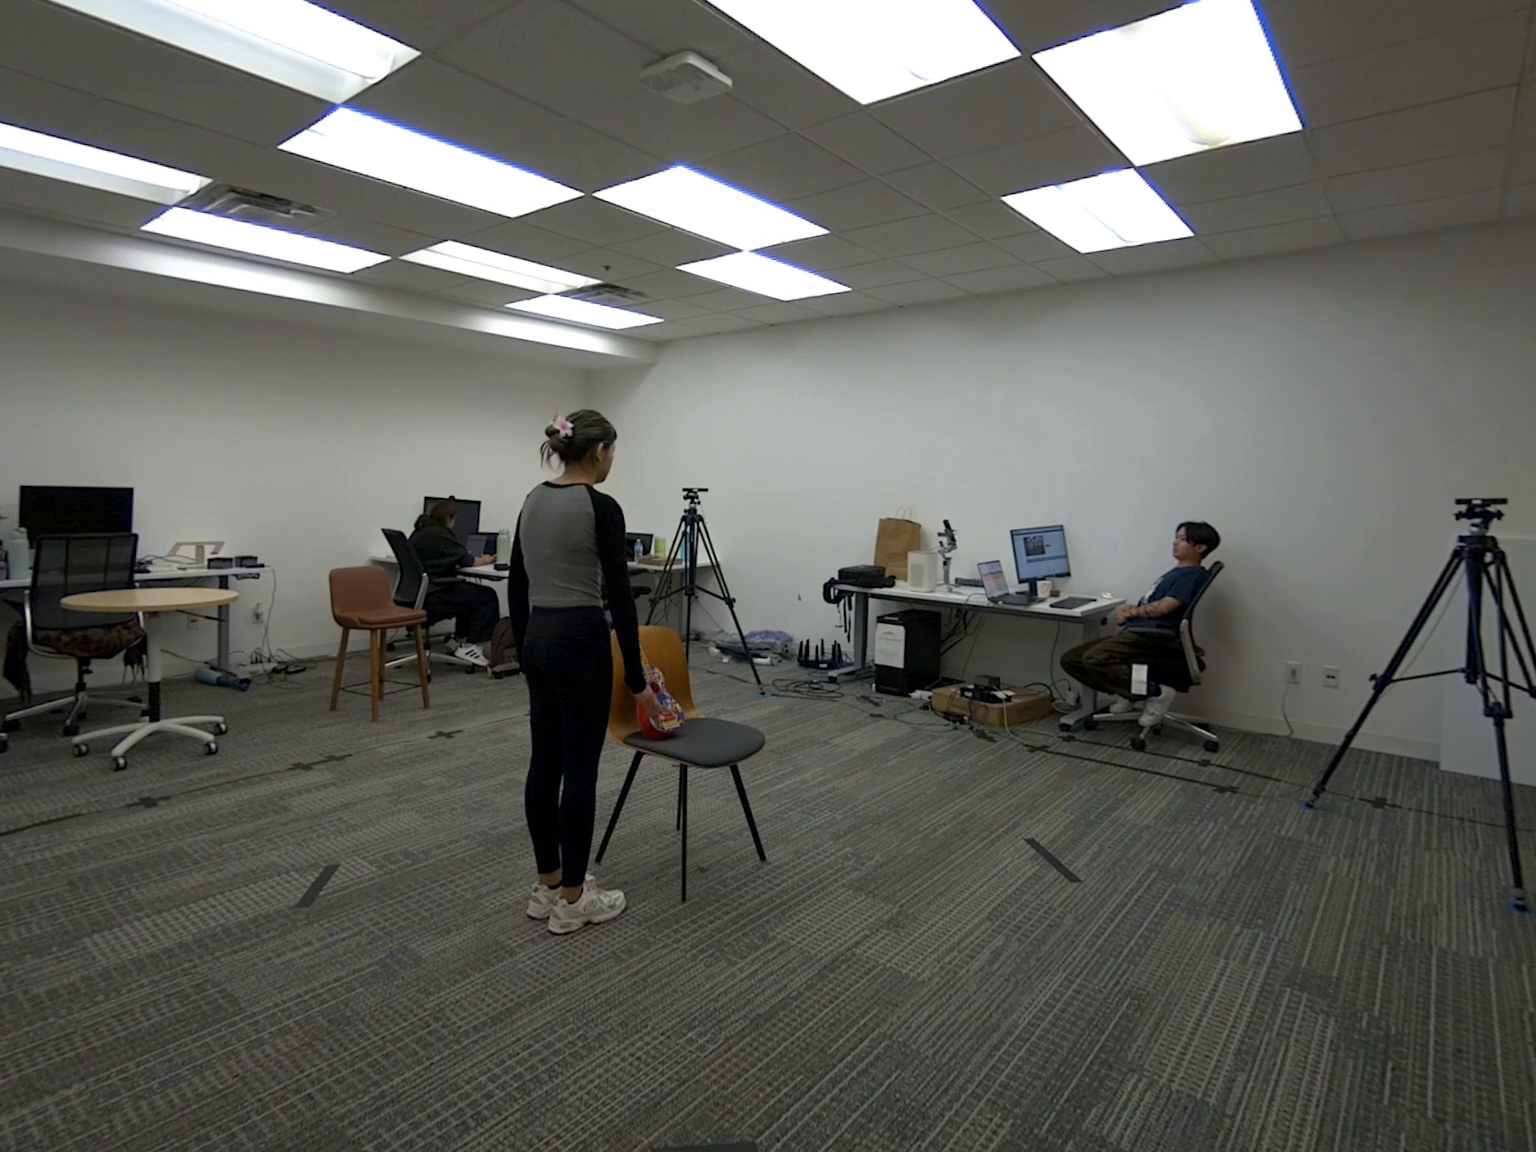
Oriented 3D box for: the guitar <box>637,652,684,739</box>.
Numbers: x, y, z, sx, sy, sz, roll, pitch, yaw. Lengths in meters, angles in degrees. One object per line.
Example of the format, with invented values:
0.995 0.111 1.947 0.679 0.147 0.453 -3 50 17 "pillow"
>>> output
-0.460 0.362 3.217 0.071 0.512 0.186 -36 -28 30 "guitar"
